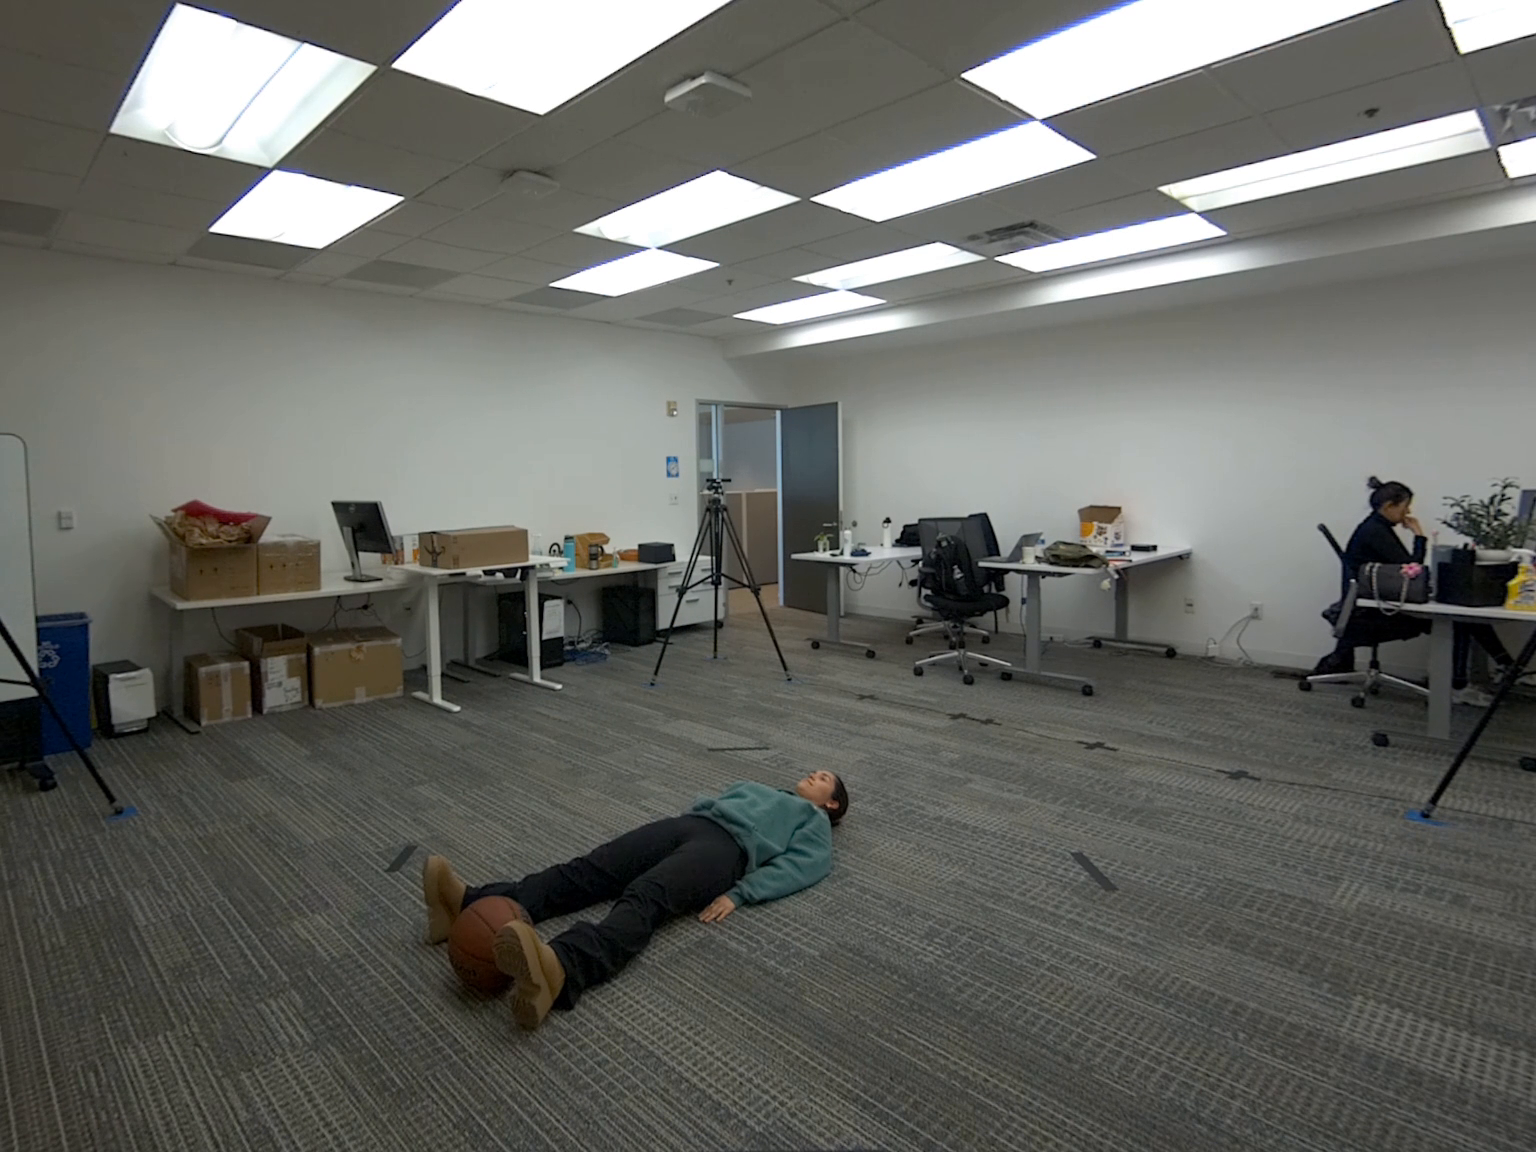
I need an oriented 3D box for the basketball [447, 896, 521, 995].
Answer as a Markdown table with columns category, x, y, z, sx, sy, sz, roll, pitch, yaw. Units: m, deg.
| category | x | y | z | sx | sy | sz | roll | pitch | yaw |
| --- | --- | --- | --- | --- | --- | --- | --- | --- | --- |
| basketball | -0.764 | 1.027 | 2.391 | 0.236 | 0.235 | 0.237 | -1 | 4 | -2 |
